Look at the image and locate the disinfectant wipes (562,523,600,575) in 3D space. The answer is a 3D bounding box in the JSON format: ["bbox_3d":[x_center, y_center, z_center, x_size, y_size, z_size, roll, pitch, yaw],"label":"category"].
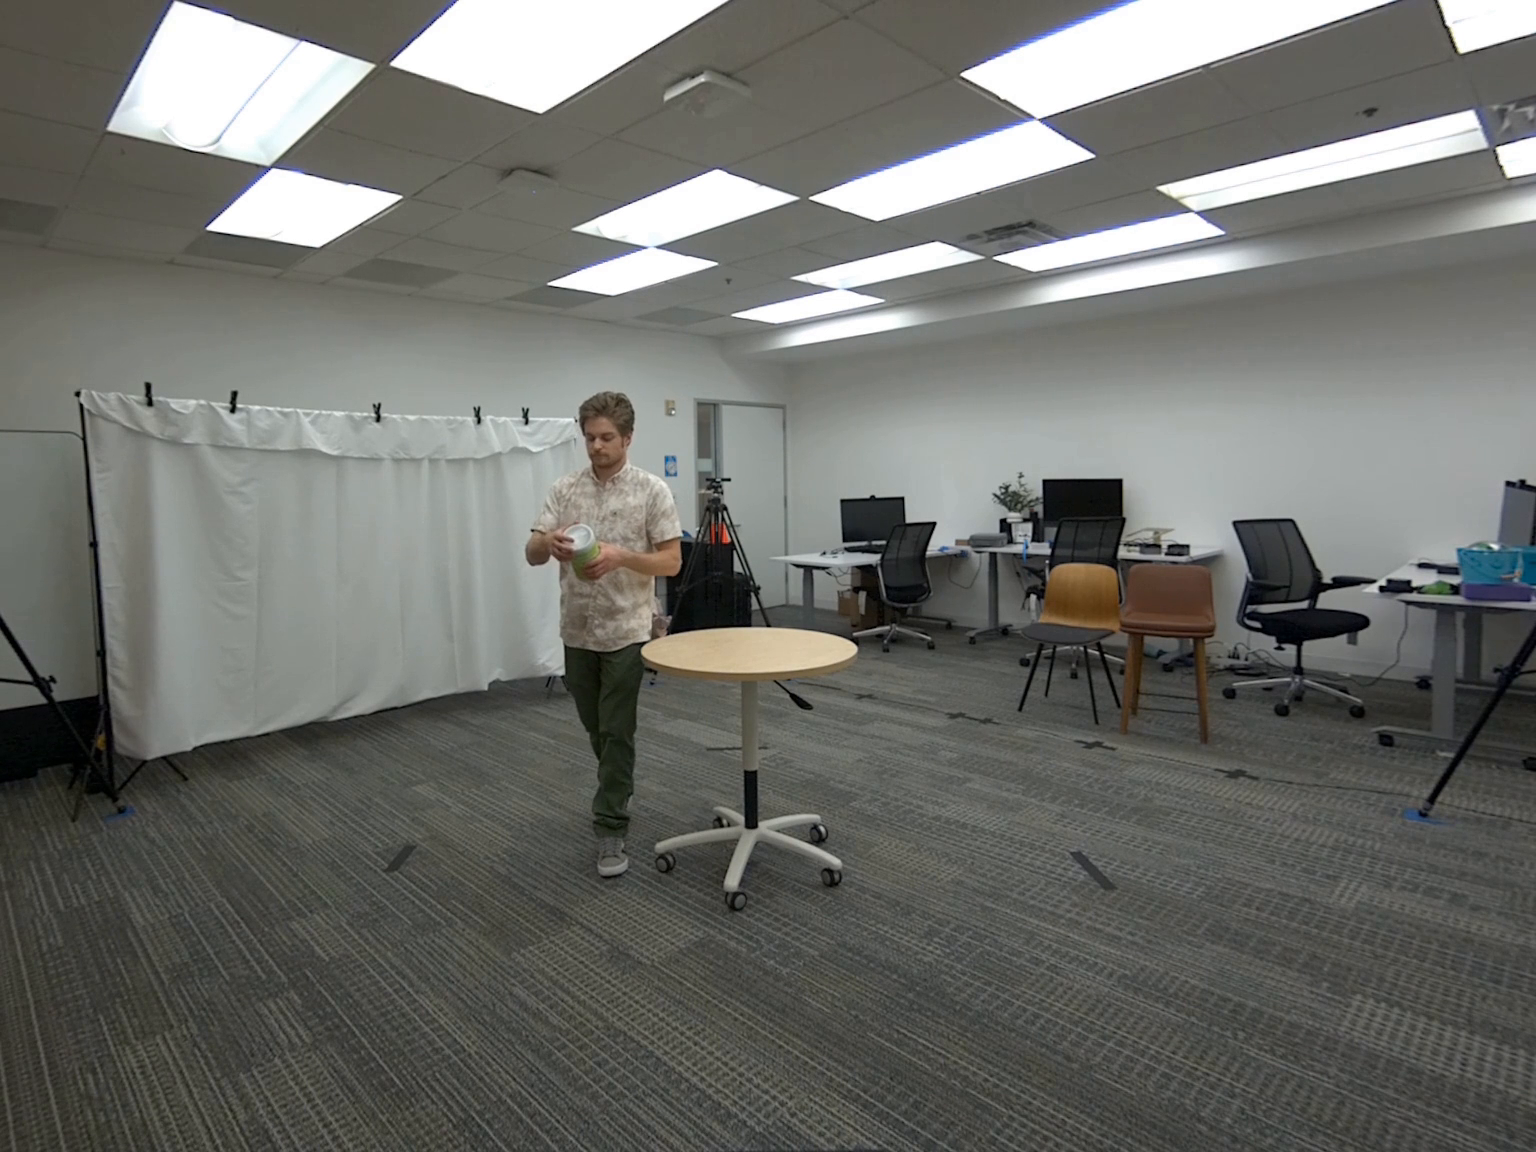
[{"bbox_3d":[-0.645,-0.075,2.931,0.118,0.120,0.212,0,-30,2],"label":"disinfectant wipes"}]
